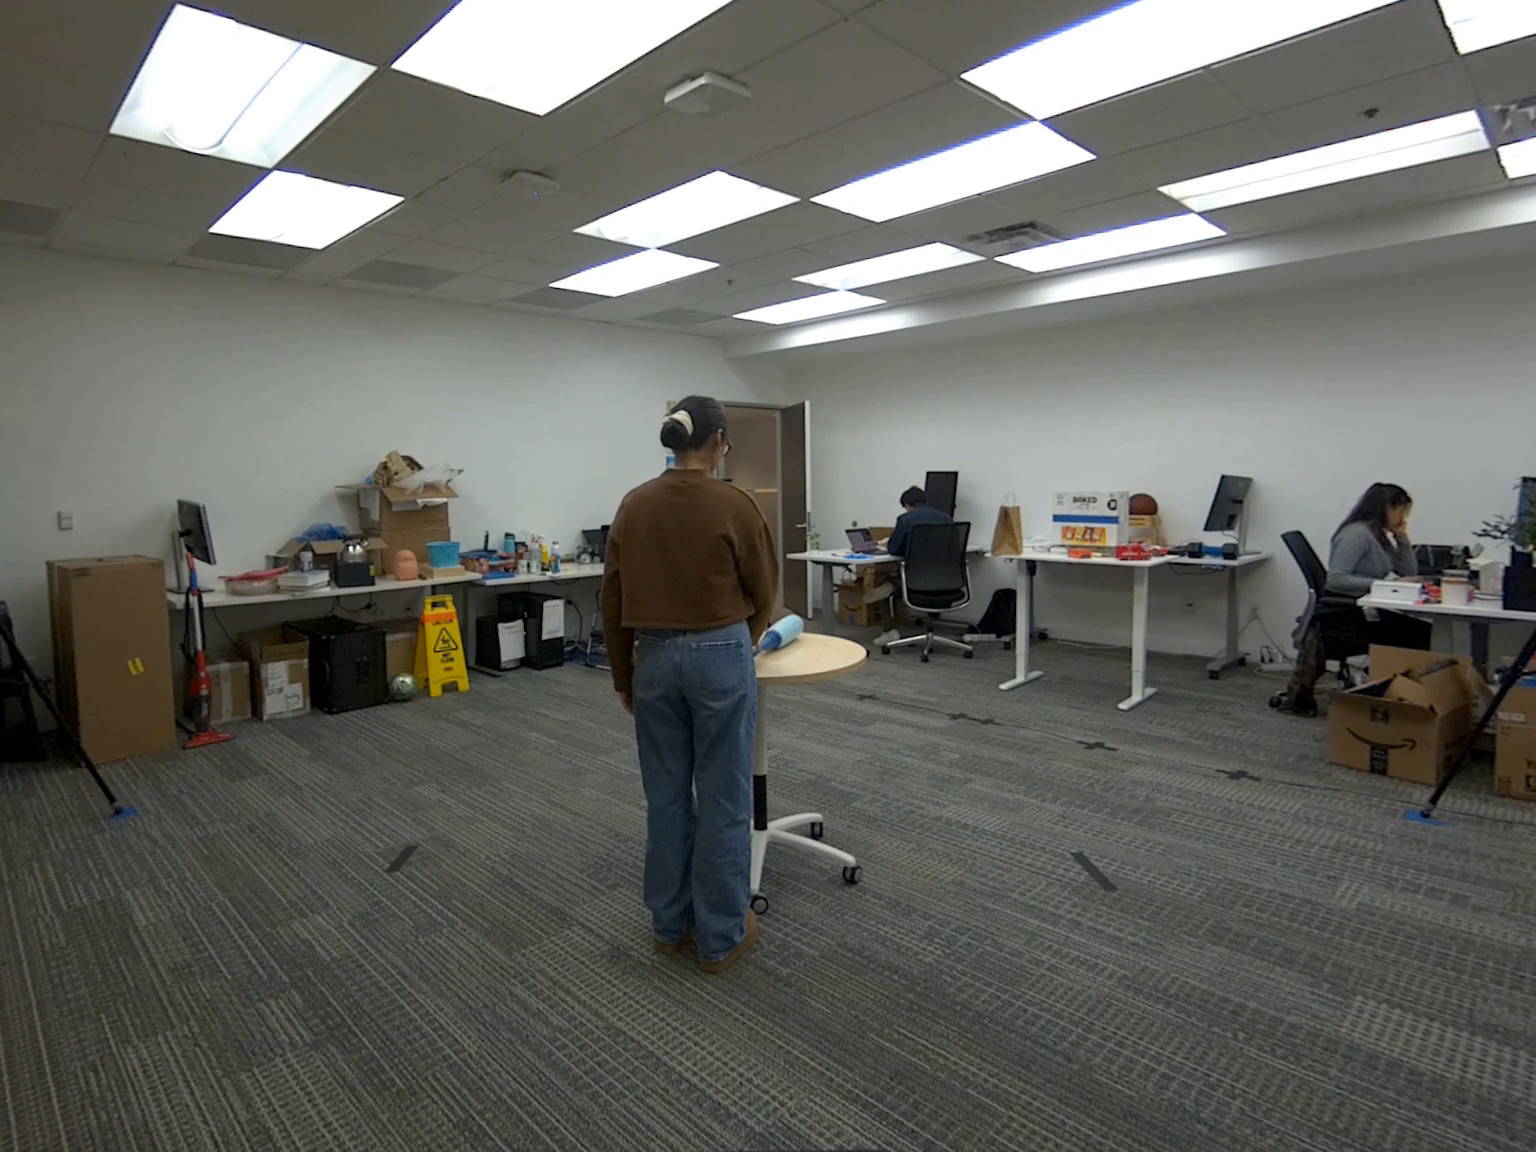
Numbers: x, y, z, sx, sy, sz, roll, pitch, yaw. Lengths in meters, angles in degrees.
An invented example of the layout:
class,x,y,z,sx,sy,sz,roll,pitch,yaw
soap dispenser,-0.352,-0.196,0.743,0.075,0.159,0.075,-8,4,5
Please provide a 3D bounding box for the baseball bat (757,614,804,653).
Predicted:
class,x,y,z,sx,sy,sz,roll,pitch,yaw
baseball bat,0.013,0.235,3.026,0.091,0.088,0.537,1,11,19
